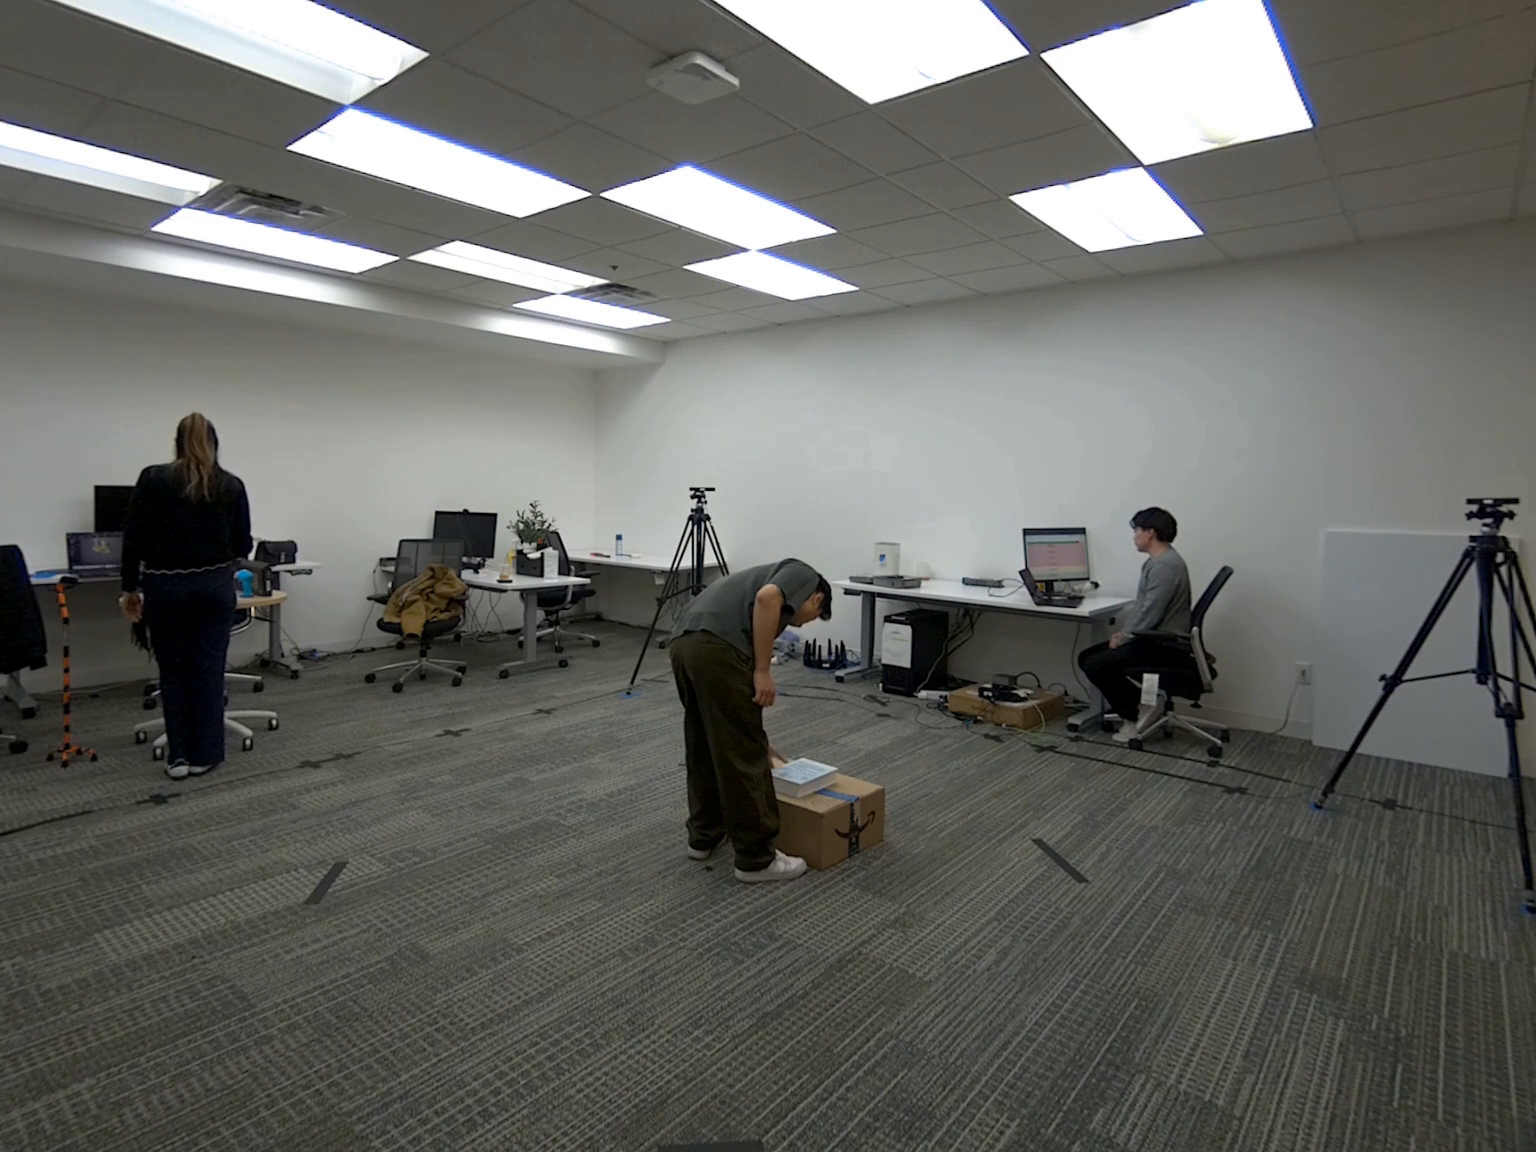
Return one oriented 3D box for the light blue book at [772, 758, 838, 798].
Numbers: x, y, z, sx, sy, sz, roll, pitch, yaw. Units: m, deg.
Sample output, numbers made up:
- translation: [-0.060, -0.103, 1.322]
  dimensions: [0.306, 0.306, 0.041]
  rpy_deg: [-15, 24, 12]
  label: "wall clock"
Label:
- translation: [0.123, 0.805, 3.422]
  dimensions: [0.198, 0.059, 0.253]
  rpy_deg: [7, 9, 40]
  label: "light blue book"
